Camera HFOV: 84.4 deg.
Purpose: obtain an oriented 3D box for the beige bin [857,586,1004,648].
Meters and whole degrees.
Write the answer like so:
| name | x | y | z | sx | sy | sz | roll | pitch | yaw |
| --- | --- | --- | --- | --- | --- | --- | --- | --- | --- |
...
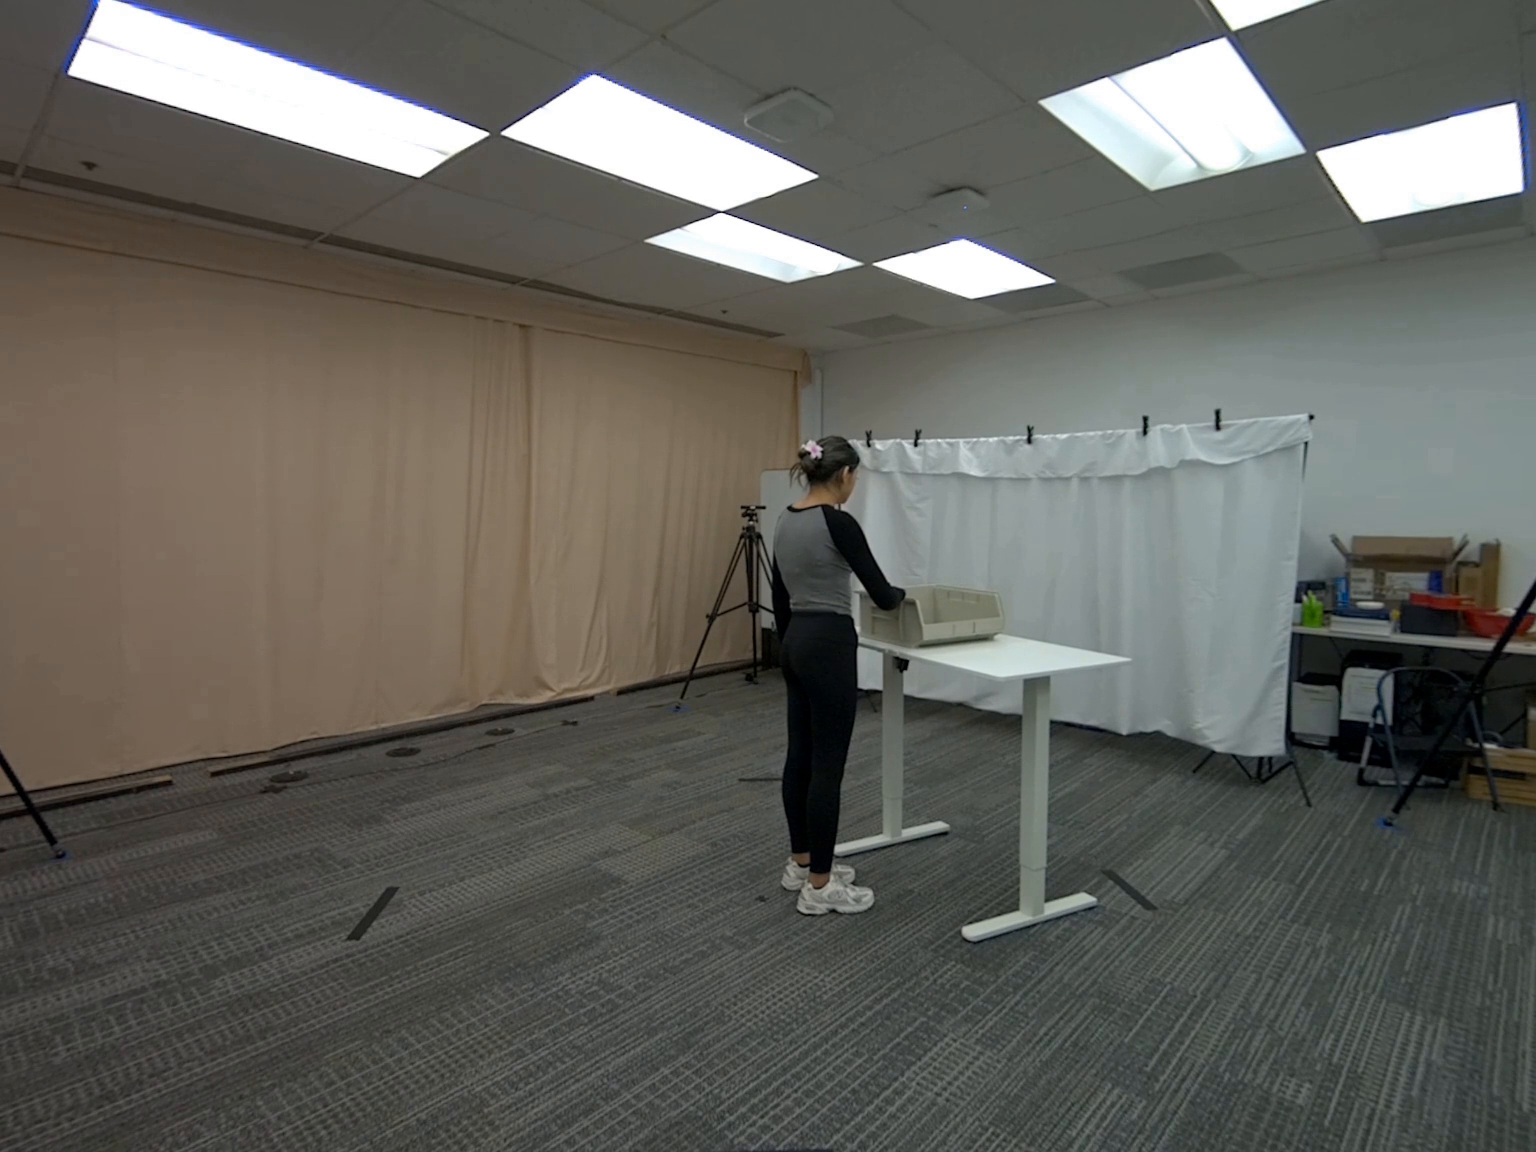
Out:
| name | x | y | z | sx | sy | sz | roll | pitch | yaw |
| --- | --- | --- | --- | --- | --- | --- | --- | --- | --- |
| beige bin | 0.620 | 0.154 | 3.209 | 0.411 | 0.188 | 0.388 | -4 | 5 | -30 |
